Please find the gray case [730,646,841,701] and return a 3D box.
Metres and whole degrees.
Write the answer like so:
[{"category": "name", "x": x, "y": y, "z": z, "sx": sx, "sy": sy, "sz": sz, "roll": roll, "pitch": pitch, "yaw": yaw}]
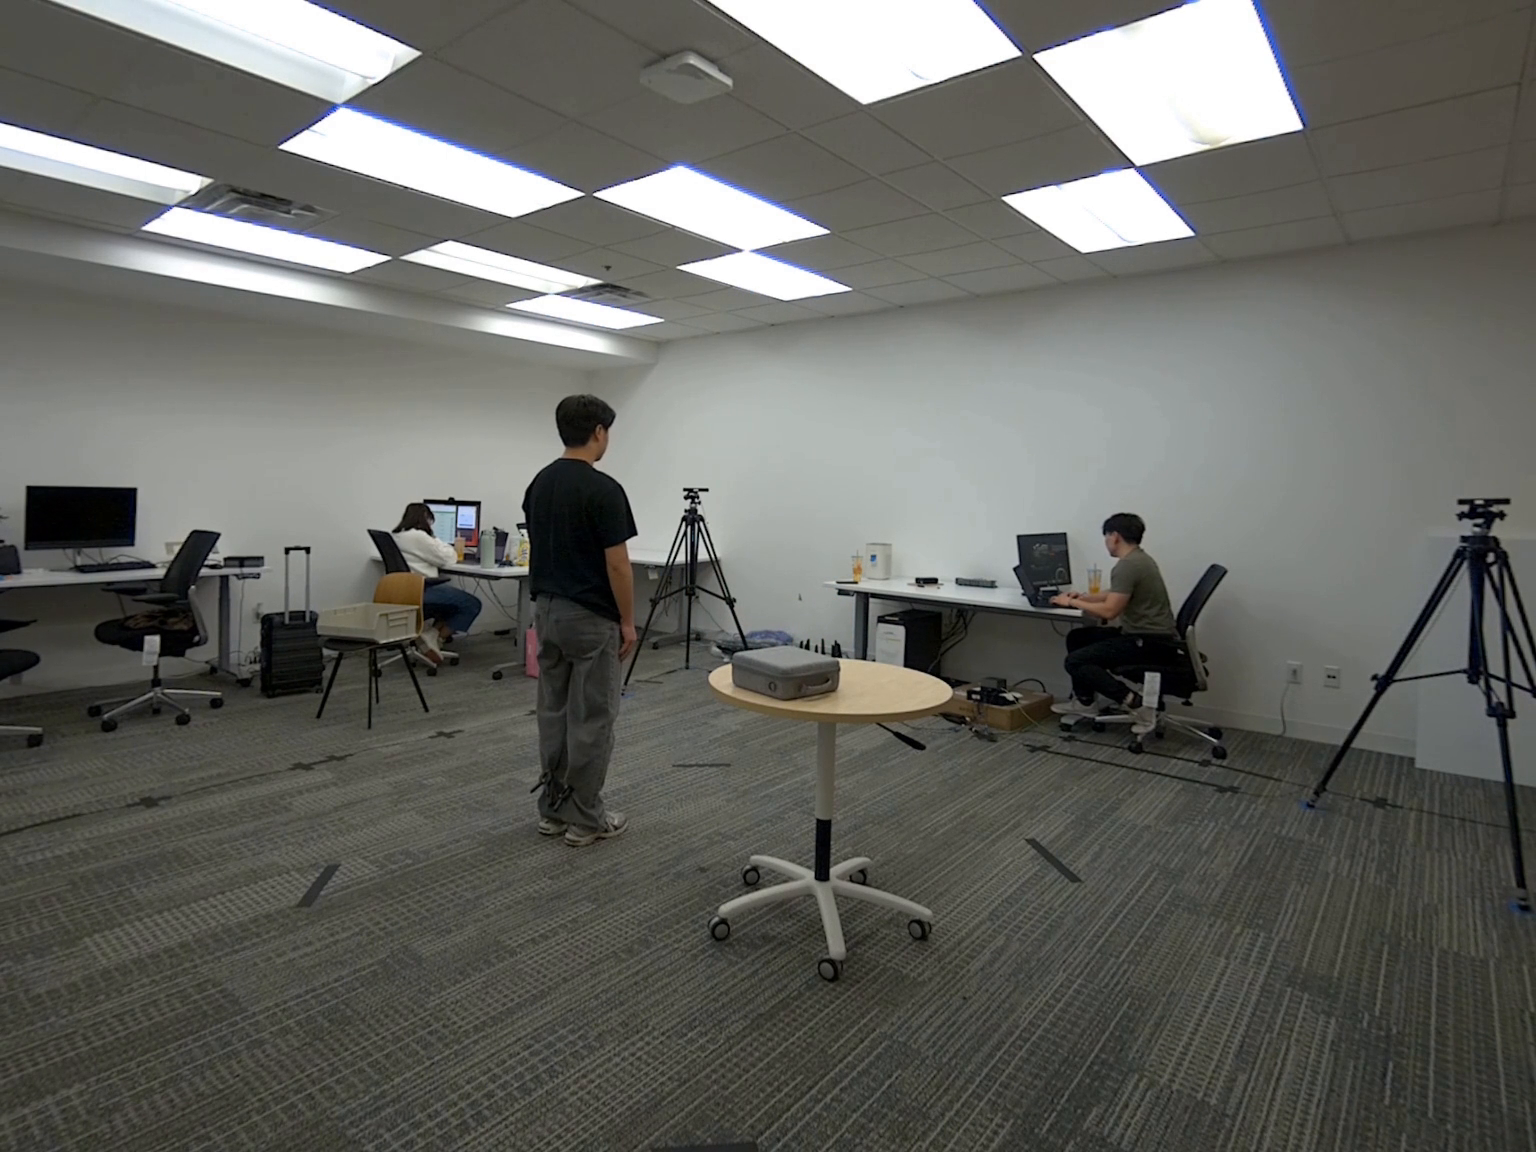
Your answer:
[{"category": "gray case", "x": 0.056, "y": 0.293, "z": 2.592, "sx": 0.255, "sy": 0.102, "sz": 0.297, "roll": -3, "pitch": 8, "yaw": -40}]
